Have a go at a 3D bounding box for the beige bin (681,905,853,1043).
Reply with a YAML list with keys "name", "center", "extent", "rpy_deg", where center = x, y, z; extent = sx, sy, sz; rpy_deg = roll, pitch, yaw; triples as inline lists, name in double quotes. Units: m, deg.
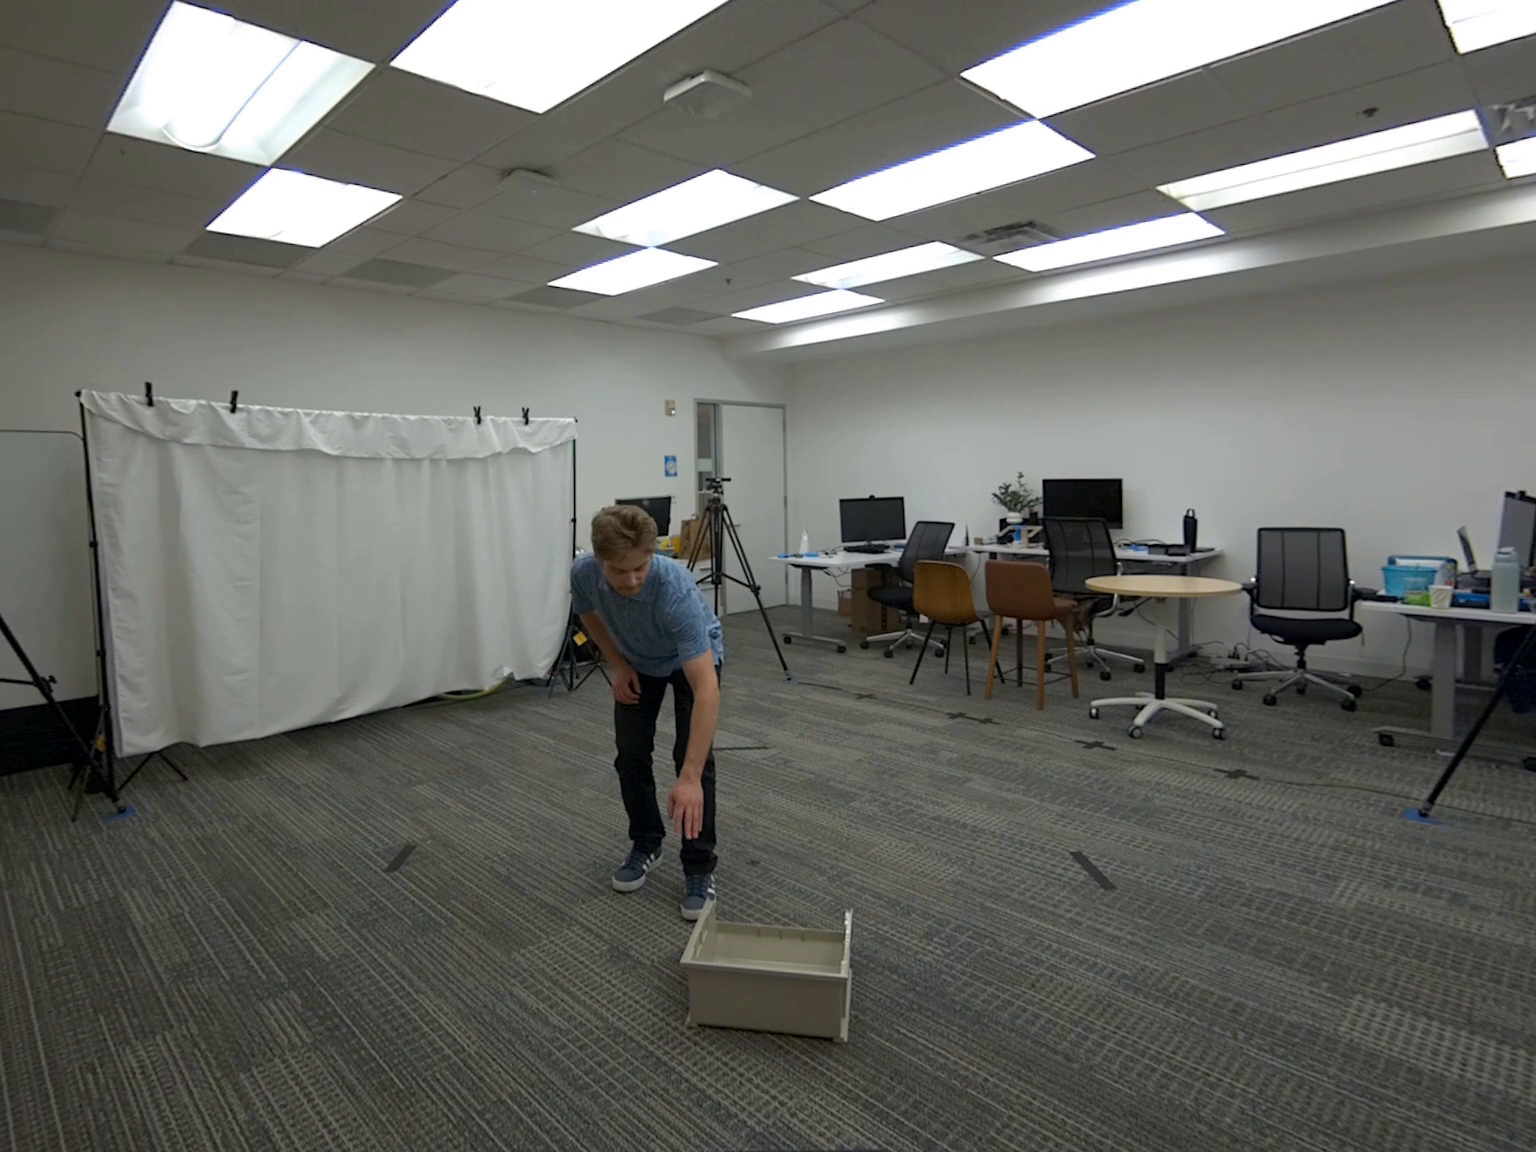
- name: "beige bin"
  center: [0.017, 1.048, 2.312]
  extent: [0.426, 0.188, 0.376]
  rpy_deg: [0, 7, 9]
